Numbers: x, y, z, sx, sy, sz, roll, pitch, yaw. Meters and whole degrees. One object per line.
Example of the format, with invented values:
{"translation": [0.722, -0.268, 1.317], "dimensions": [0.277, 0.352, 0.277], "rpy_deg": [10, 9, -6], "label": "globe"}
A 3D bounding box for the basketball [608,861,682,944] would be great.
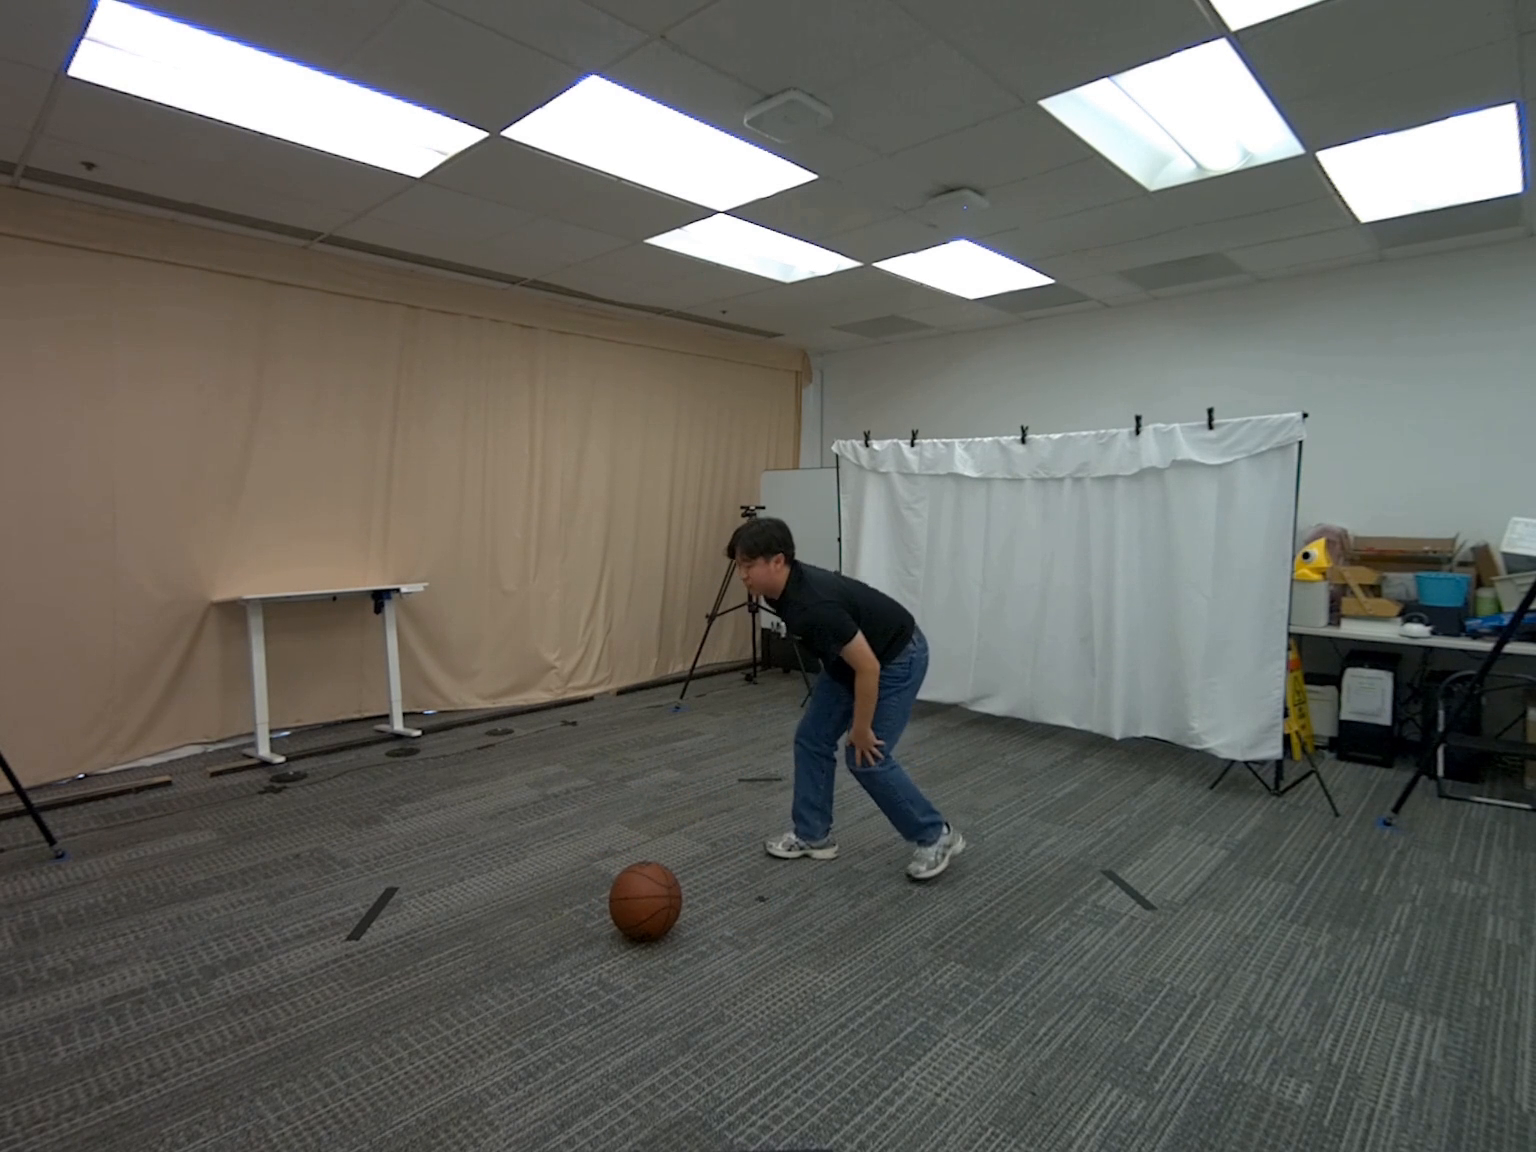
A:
{"translation": [-0.396, 1.044, 2.722], "dimensions": [0.236, 0.235, 0.237], "rpy_deg": [0, 4, -2], "label": "basketball"}
